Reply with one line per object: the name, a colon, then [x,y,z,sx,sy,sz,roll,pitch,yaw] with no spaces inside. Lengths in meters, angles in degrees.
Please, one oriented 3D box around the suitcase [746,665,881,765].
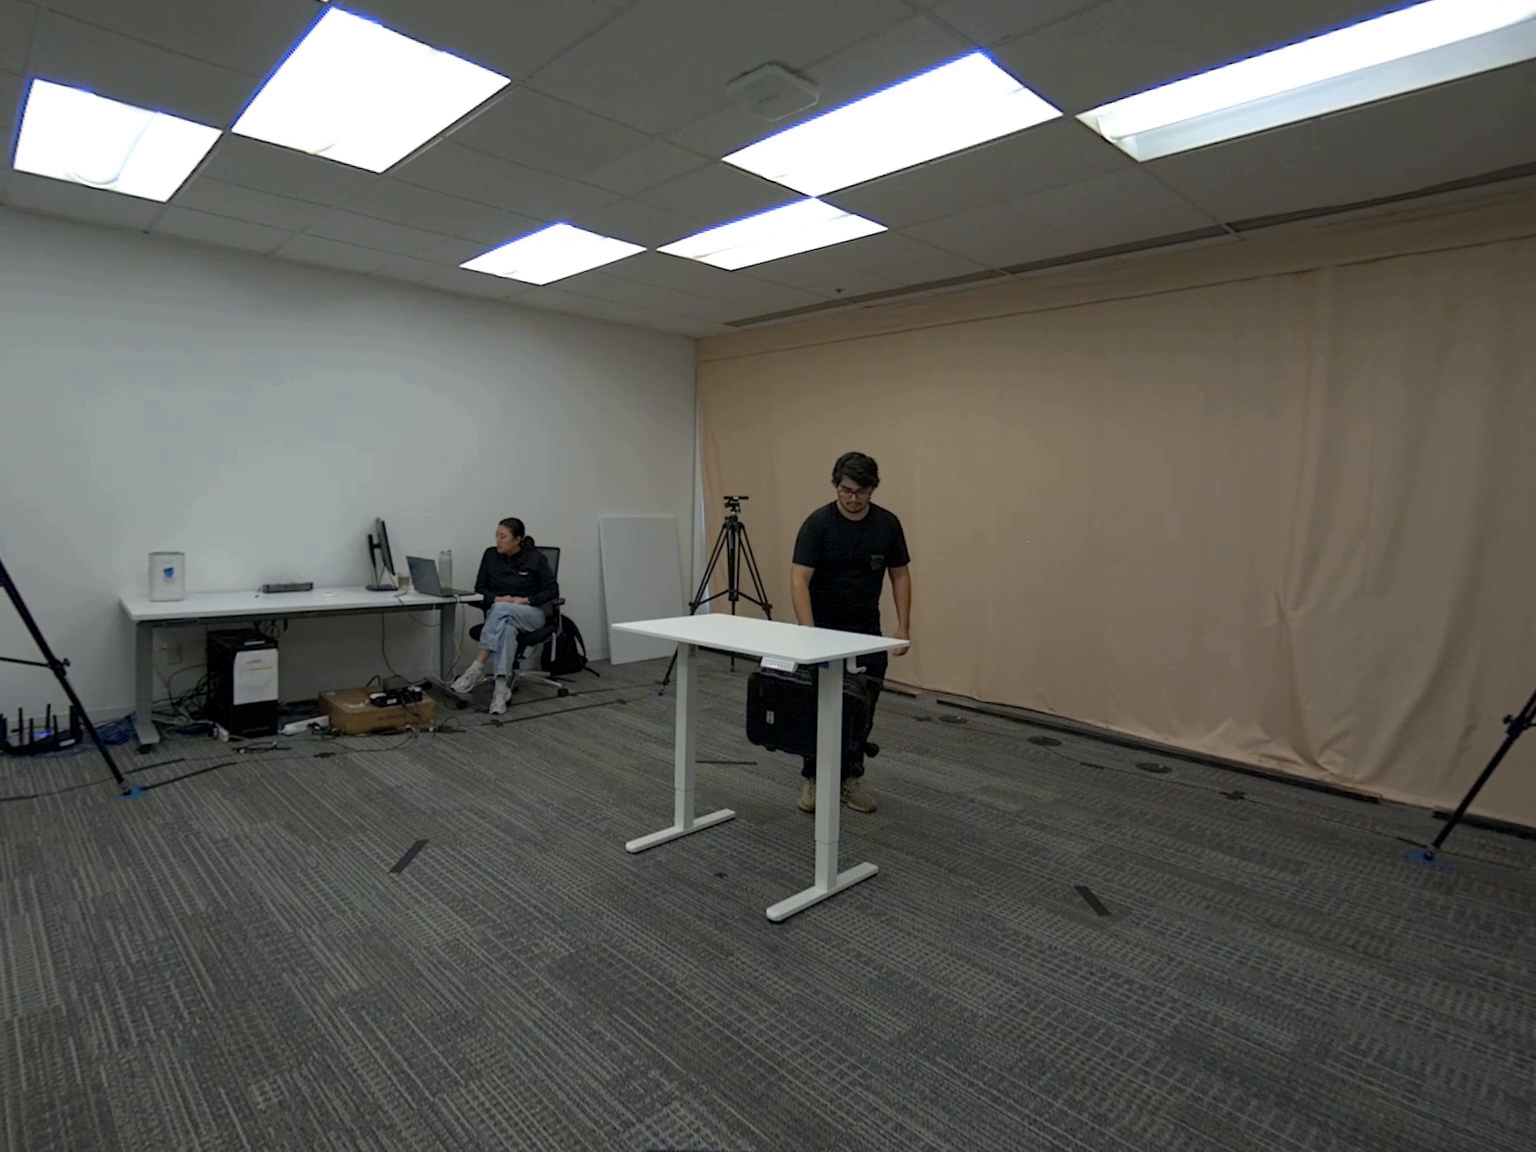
suitcase: [0.175,0.568,3.575,0.561,0.372,0.245,10,15,25]
